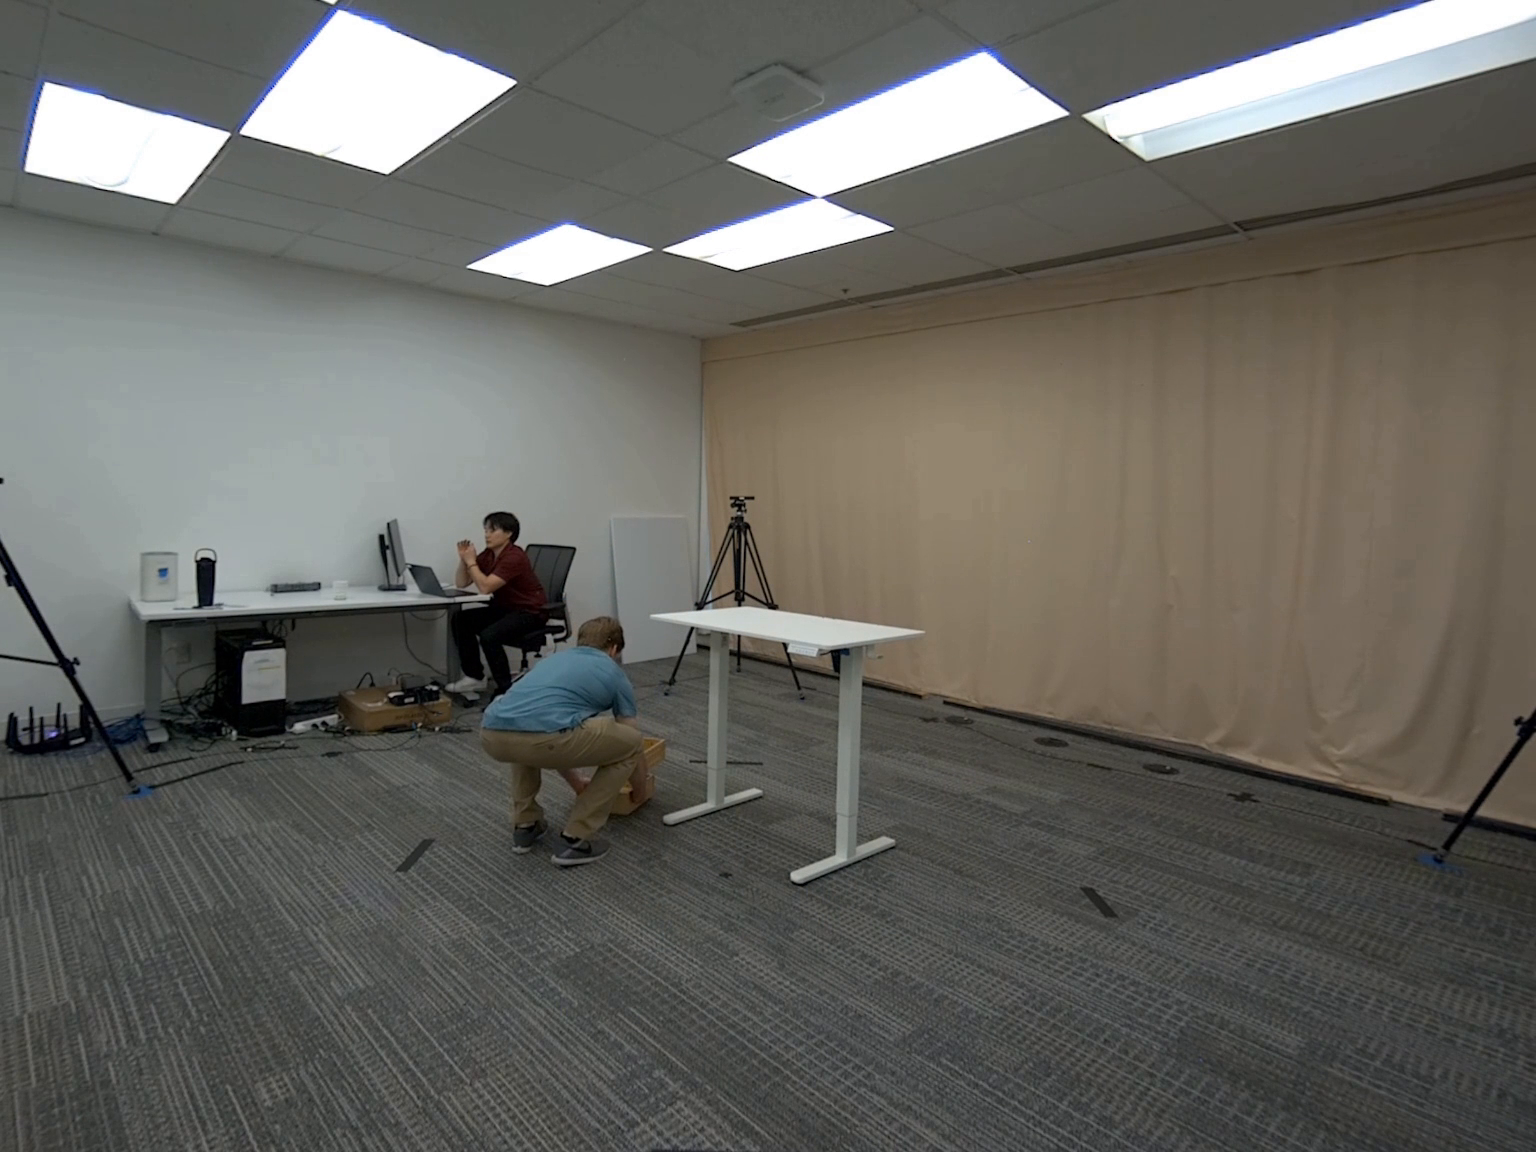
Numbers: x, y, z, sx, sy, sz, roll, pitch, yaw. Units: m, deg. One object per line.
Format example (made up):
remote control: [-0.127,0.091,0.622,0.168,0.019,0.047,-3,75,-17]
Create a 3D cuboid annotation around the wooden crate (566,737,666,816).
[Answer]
wooden crate: [-0.681,0.886,3.778,0.305,0.273,0.321,3,3,13]
